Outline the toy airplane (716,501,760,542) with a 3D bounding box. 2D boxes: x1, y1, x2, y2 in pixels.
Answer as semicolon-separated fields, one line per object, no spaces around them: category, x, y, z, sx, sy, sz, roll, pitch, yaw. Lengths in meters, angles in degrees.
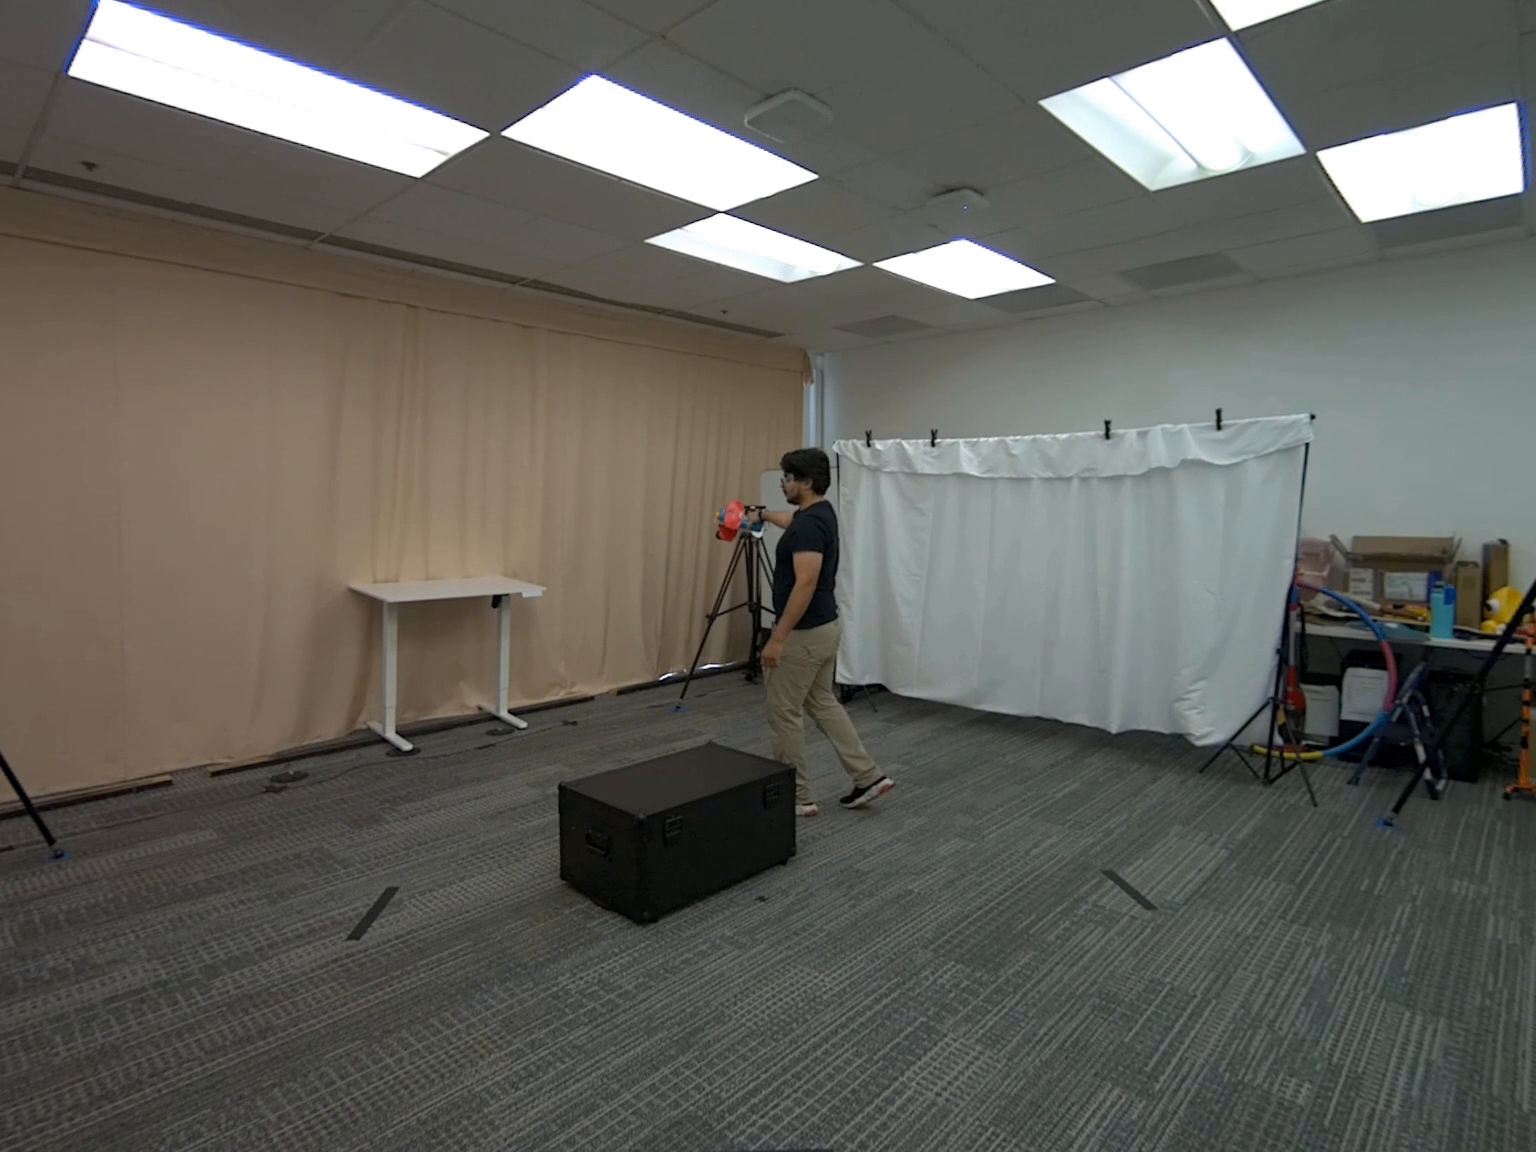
toy airplane;-0.153;-0.282;4.459;0.255;0.154;0.259;-11;41;-16
